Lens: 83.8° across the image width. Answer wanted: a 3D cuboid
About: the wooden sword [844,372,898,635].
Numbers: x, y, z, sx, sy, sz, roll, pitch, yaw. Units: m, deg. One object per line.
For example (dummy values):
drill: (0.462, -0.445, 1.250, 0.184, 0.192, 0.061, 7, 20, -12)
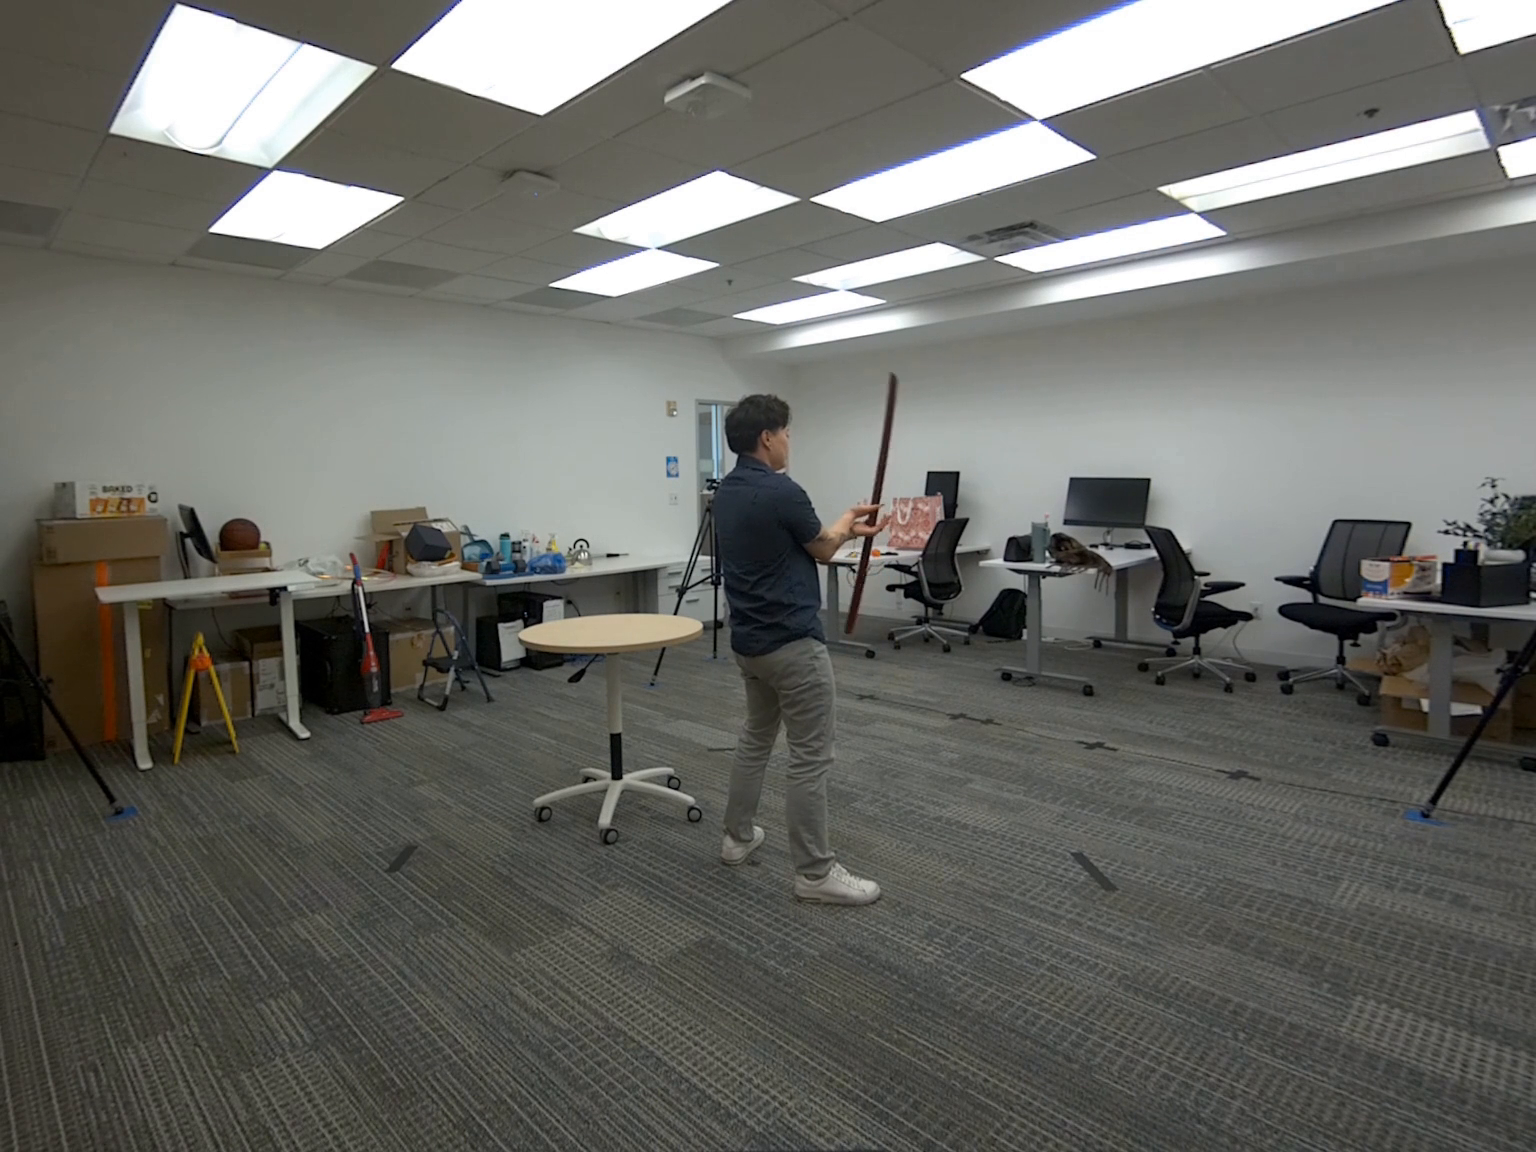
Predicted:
wooden sword: (0.383, -0.226, 3.140, 0.050, 1.007, 0.025, -4, 25, -23)
